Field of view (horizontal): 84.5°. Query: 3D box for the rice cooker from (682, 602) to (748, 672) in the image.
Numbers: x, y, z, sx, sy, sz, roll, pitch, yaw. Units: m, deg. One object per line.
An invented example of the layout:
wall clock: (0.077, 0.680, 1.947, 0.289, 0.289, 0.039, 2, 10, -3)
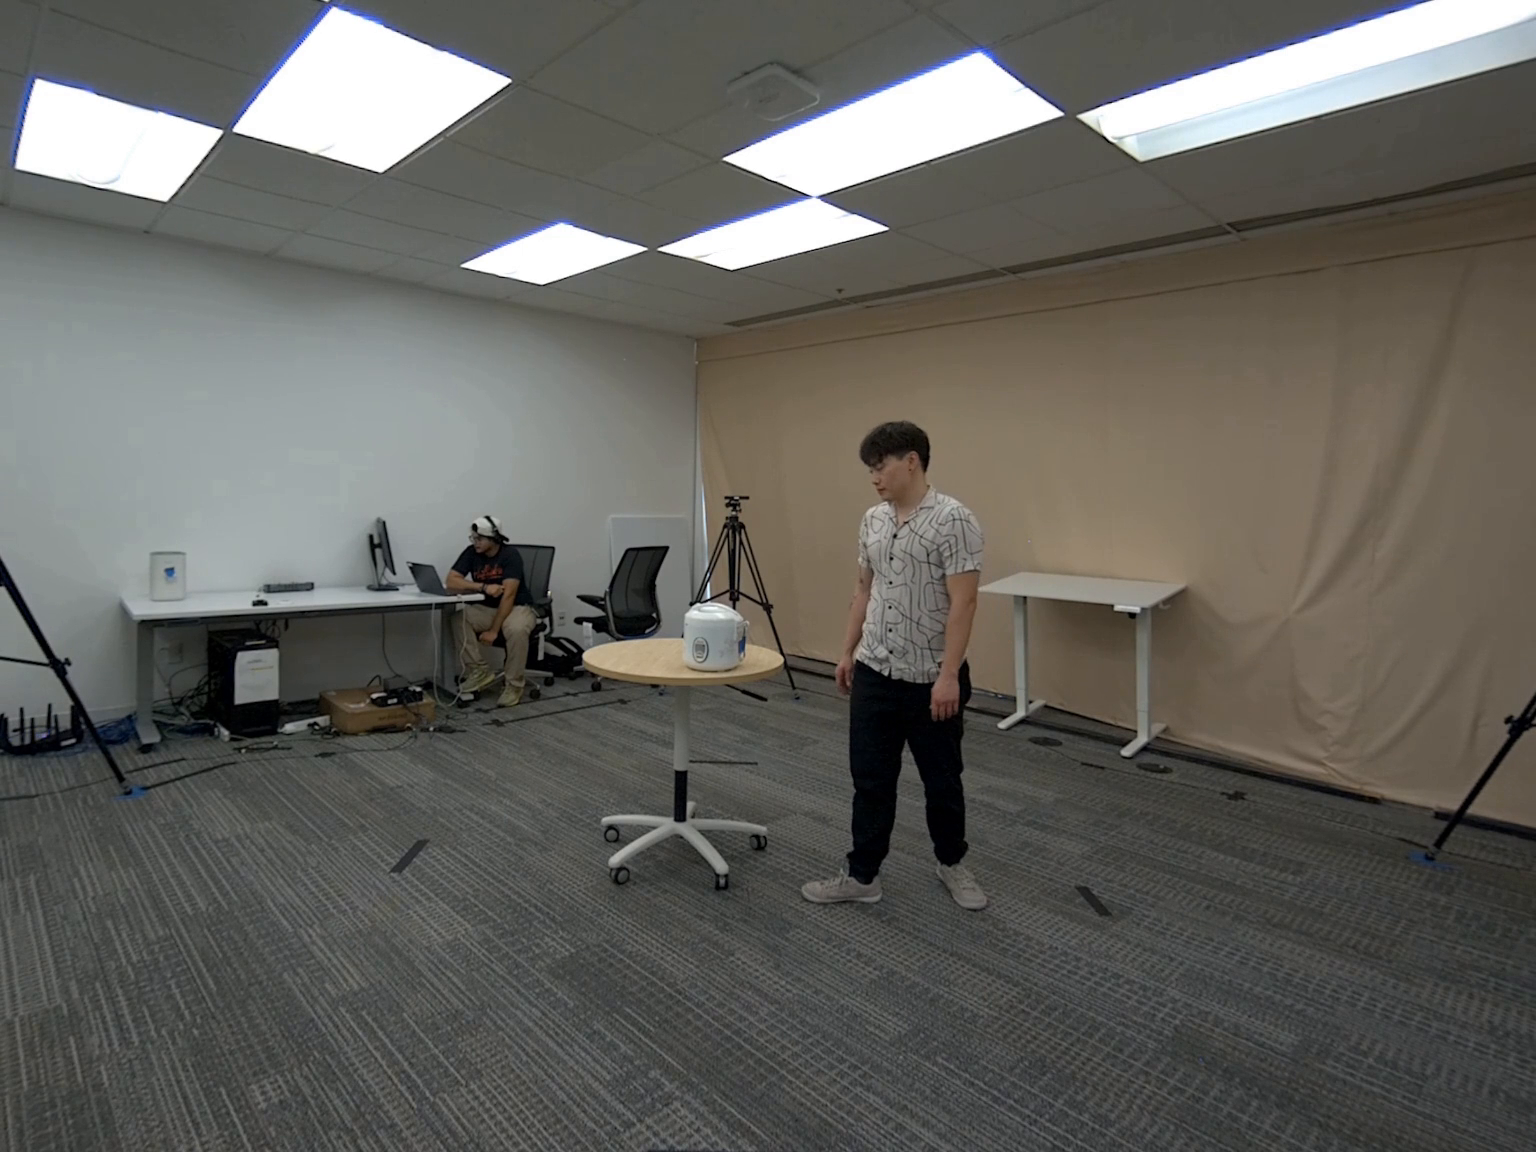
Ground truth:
rice cooker: (-0.199, 0.211, 3.019, 0.224, 0.232, 0.214, 3, 3, 20)
